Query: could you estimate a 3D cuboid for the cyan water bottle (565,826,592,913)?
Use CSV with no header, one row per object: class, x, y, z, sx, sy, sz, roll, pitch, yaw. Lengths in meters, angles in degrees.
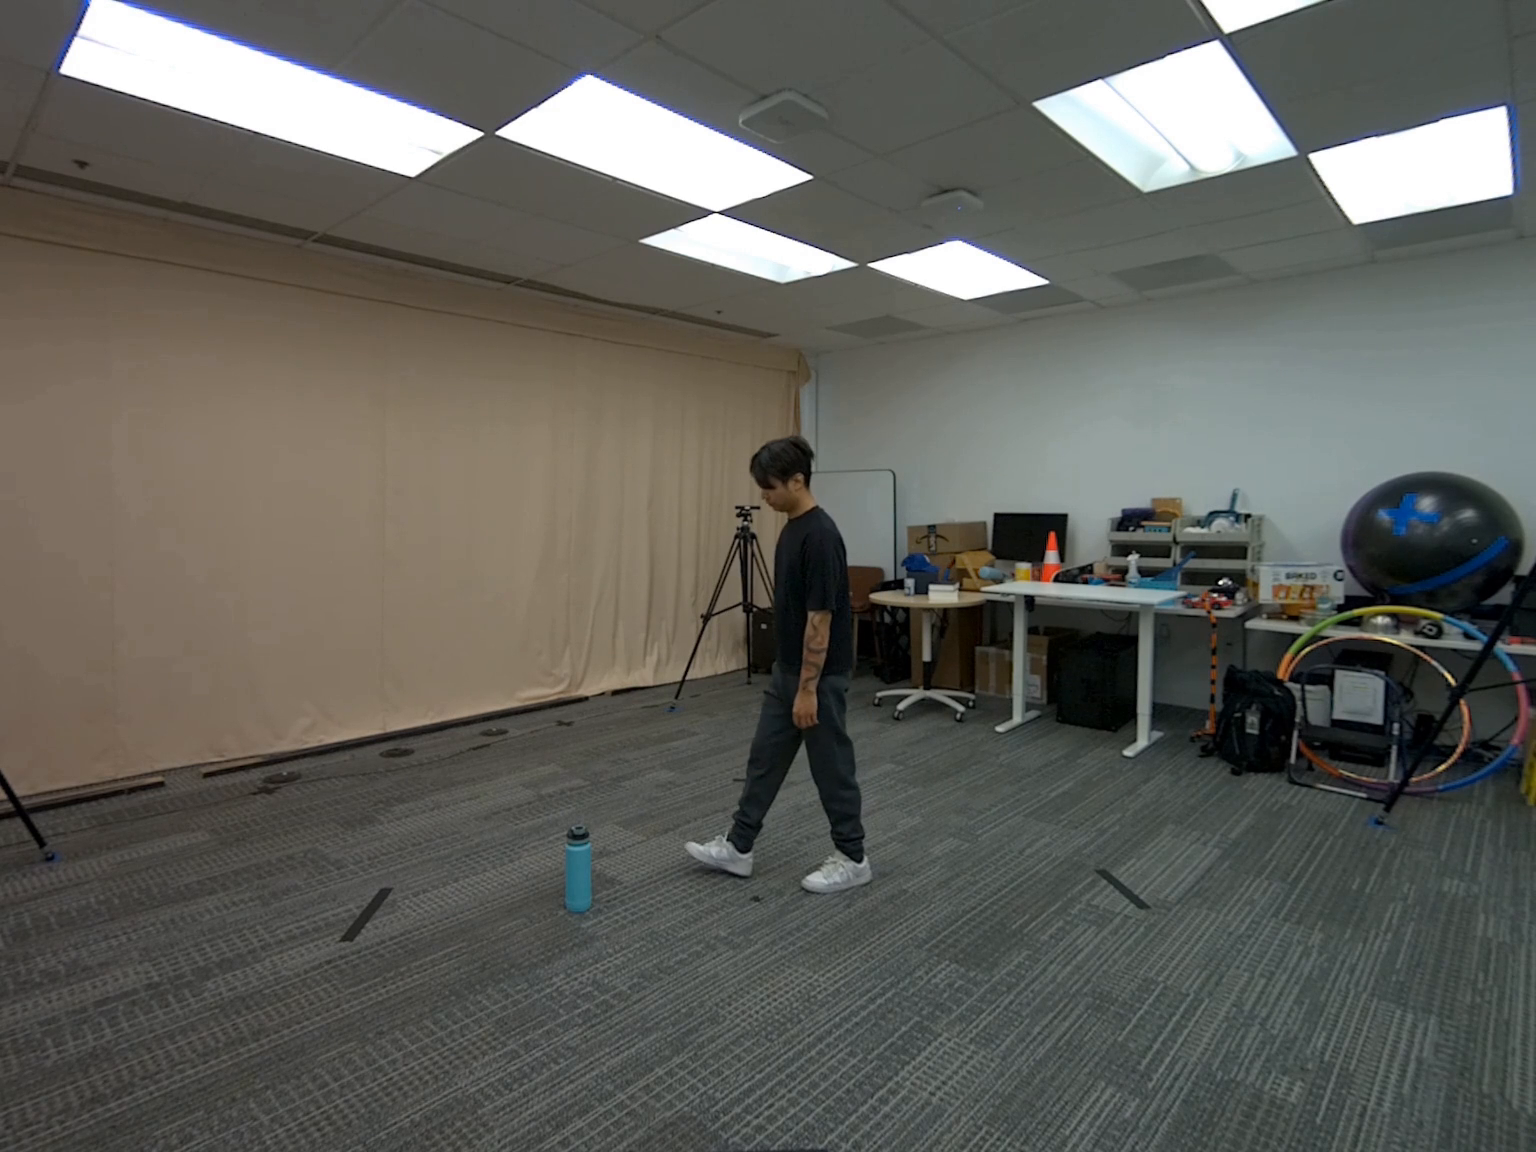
cyan water bottle,-0.662,1.013,2.928,0.092,0.283,0.092,1,1,-2
